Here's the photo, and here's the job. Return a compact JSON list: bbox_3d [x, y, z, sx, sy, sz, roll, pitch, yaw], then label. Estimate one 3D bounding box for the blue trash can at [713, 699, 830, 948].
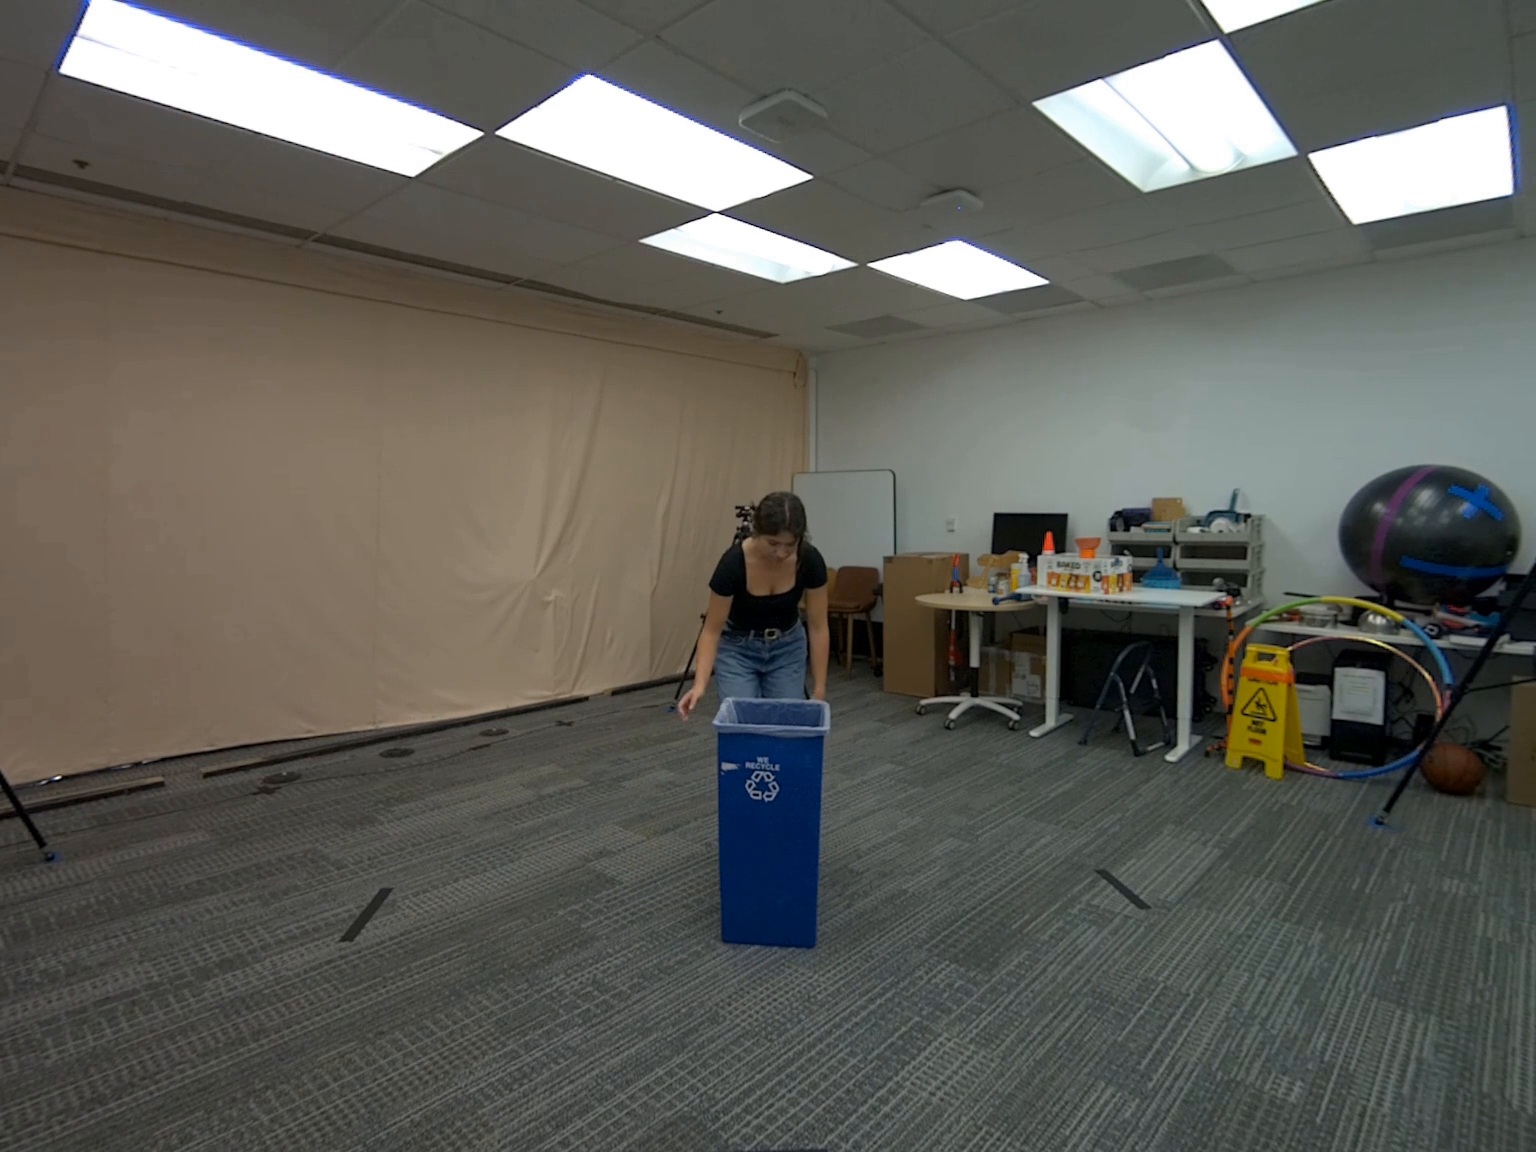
[{"bbox_3d":[0.021,0.798,2.798,0.377,0.712,0.376,0,3,6],"label":"blue trash can"}]
